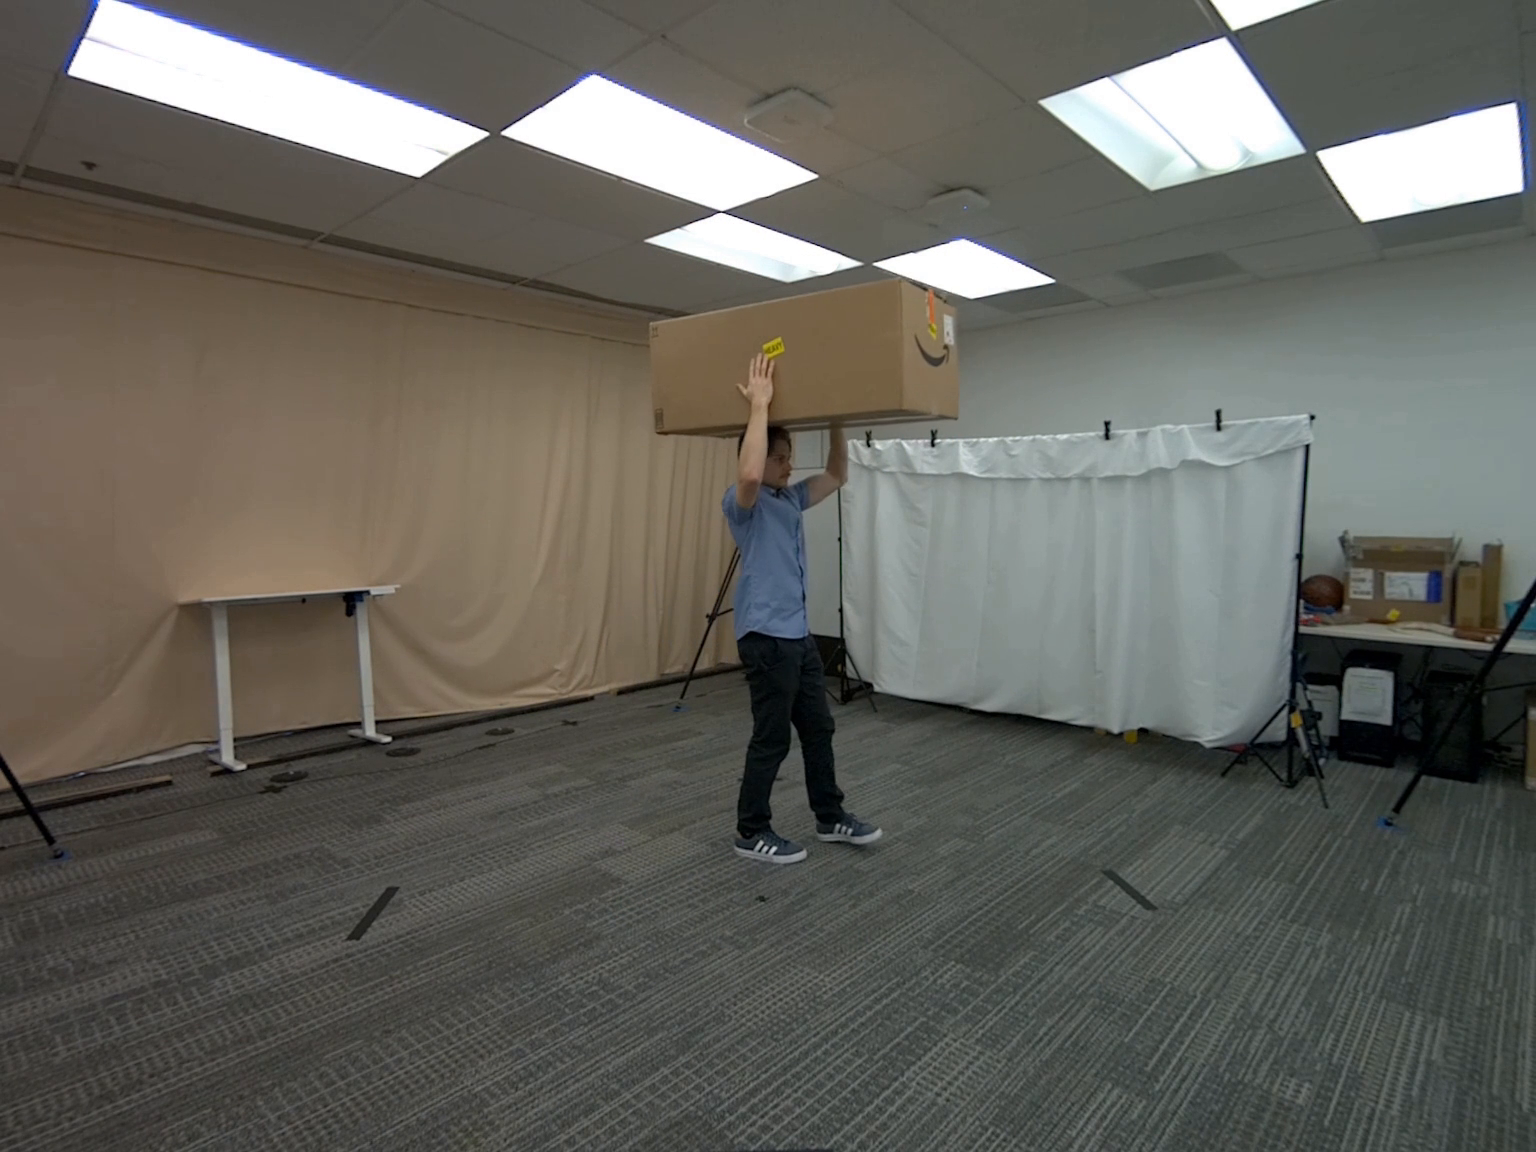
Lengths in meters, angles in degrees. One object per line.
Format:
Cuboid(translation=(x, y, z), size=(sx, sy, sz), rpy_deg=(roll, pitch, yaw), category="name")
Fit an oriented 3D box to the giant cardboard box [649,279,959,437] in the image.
Cuboid(translation=(0.134, -0.784, 3.211), size=(1.056, 0.425, 0.562), rpy_deg=(1, 6, 32), category="giant cardboard box")
